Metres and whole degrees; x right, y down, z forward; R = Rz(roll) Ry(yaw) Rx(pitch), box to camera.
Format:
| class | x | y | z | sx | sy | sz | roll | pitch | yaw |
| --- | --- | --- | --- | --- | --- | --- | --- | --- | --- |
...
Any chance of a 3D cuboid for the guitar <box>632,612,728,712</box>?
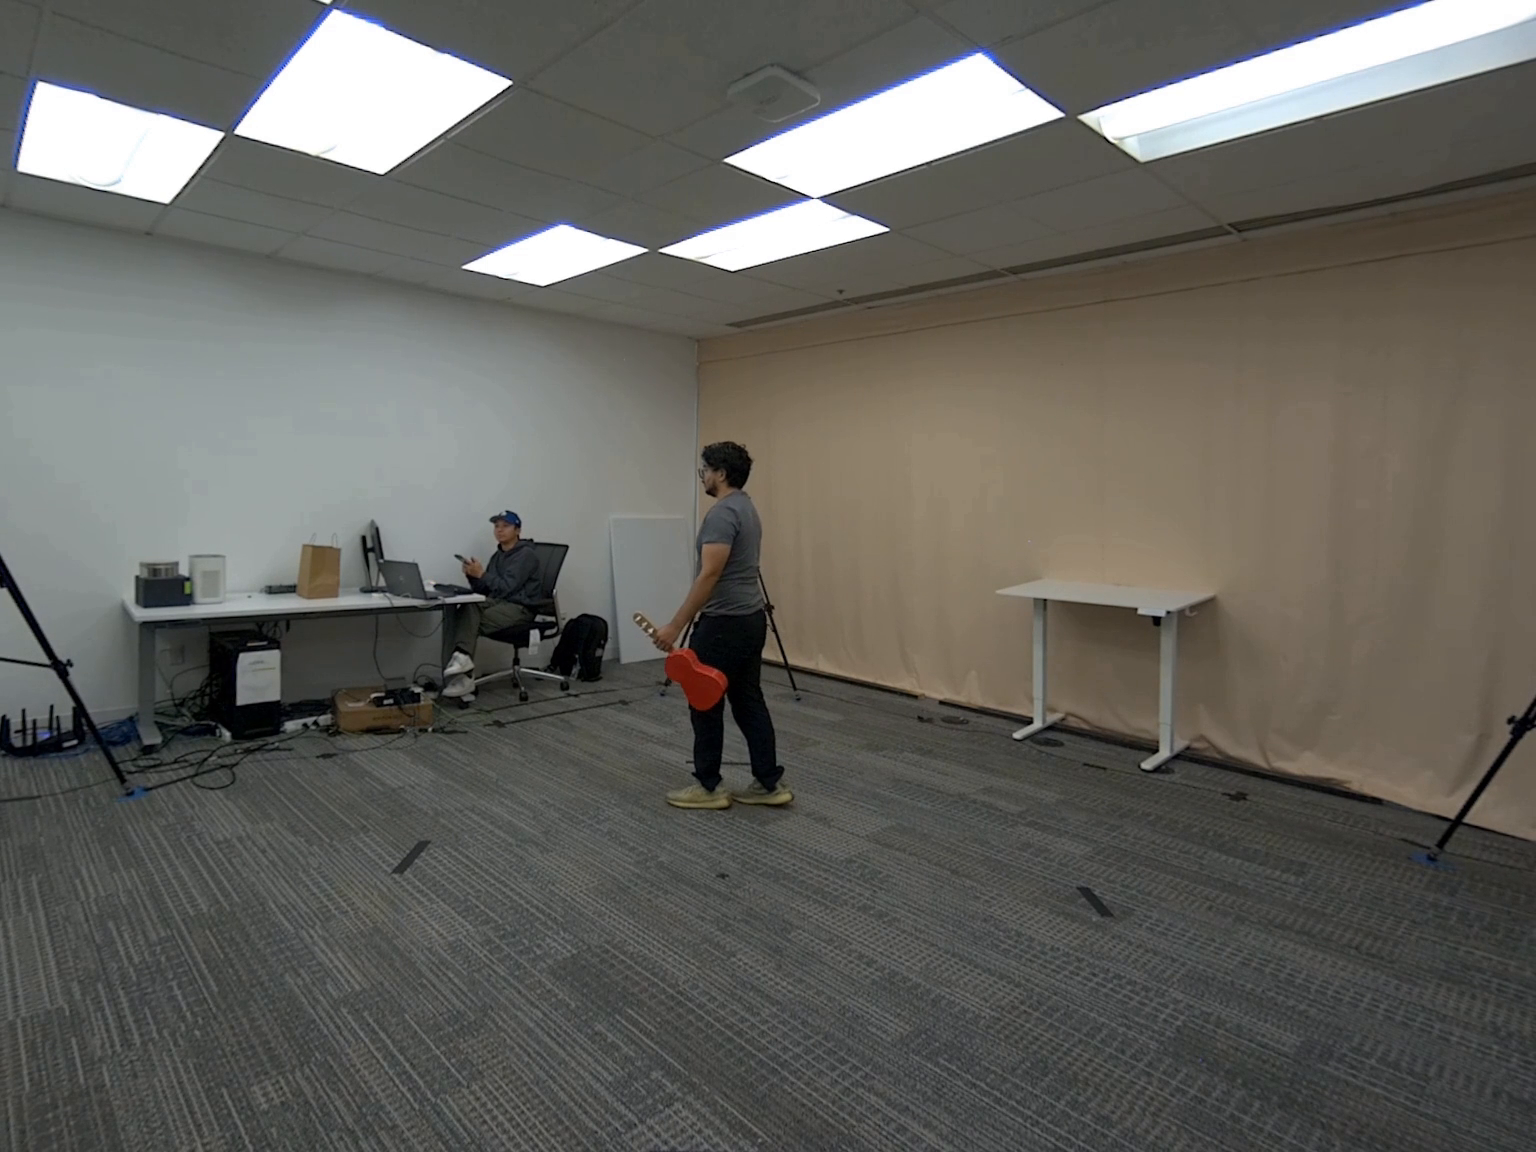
| class | x | y | z | sx | sy | sz | roll | pitch | yaw |
| --- | --- | --- | --- | --- | --- | --- | --- | --- | --- |
| guitar | -0.403 | 0.363 | 3.536 | 0.502 | 0.192 | 0.070 | 36 | 31 | 7 |
